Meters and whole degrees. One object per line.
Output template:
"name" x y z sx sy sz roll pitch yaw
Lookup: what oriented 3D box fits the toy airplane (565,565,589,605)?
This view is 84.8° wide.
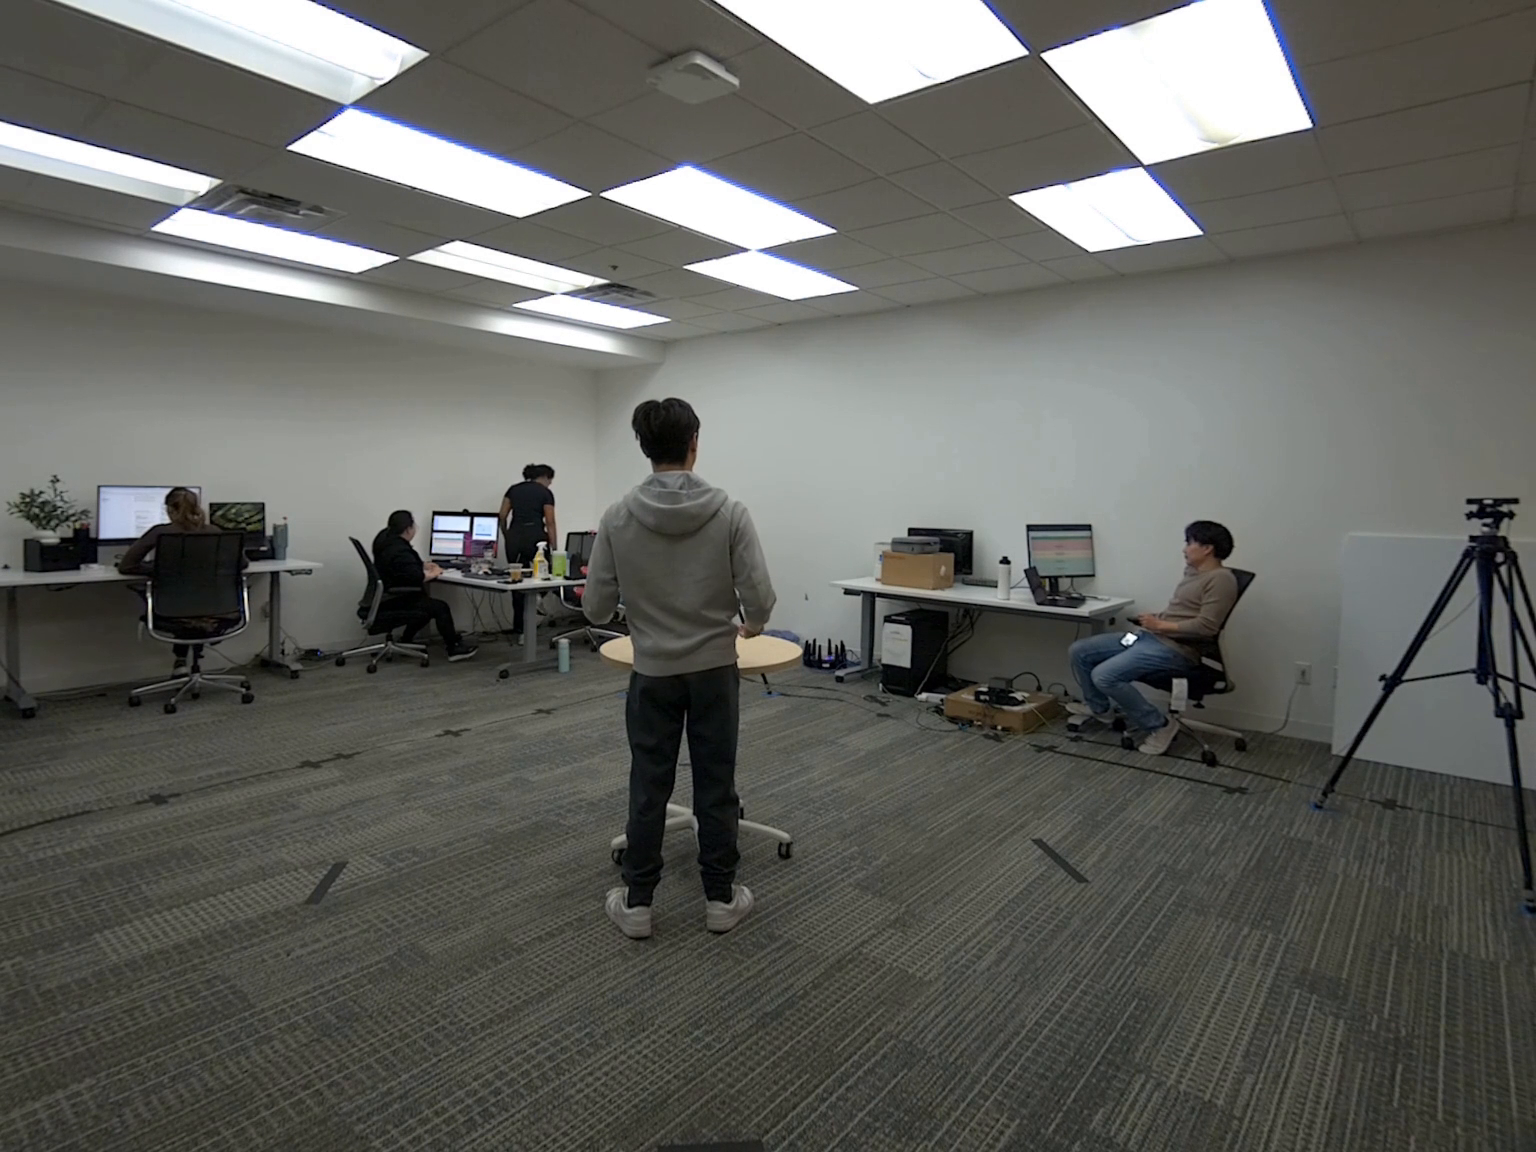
"toy airplane" -0.528 0.055 3.002 0.268 0.156 0.242 13 -1 31
